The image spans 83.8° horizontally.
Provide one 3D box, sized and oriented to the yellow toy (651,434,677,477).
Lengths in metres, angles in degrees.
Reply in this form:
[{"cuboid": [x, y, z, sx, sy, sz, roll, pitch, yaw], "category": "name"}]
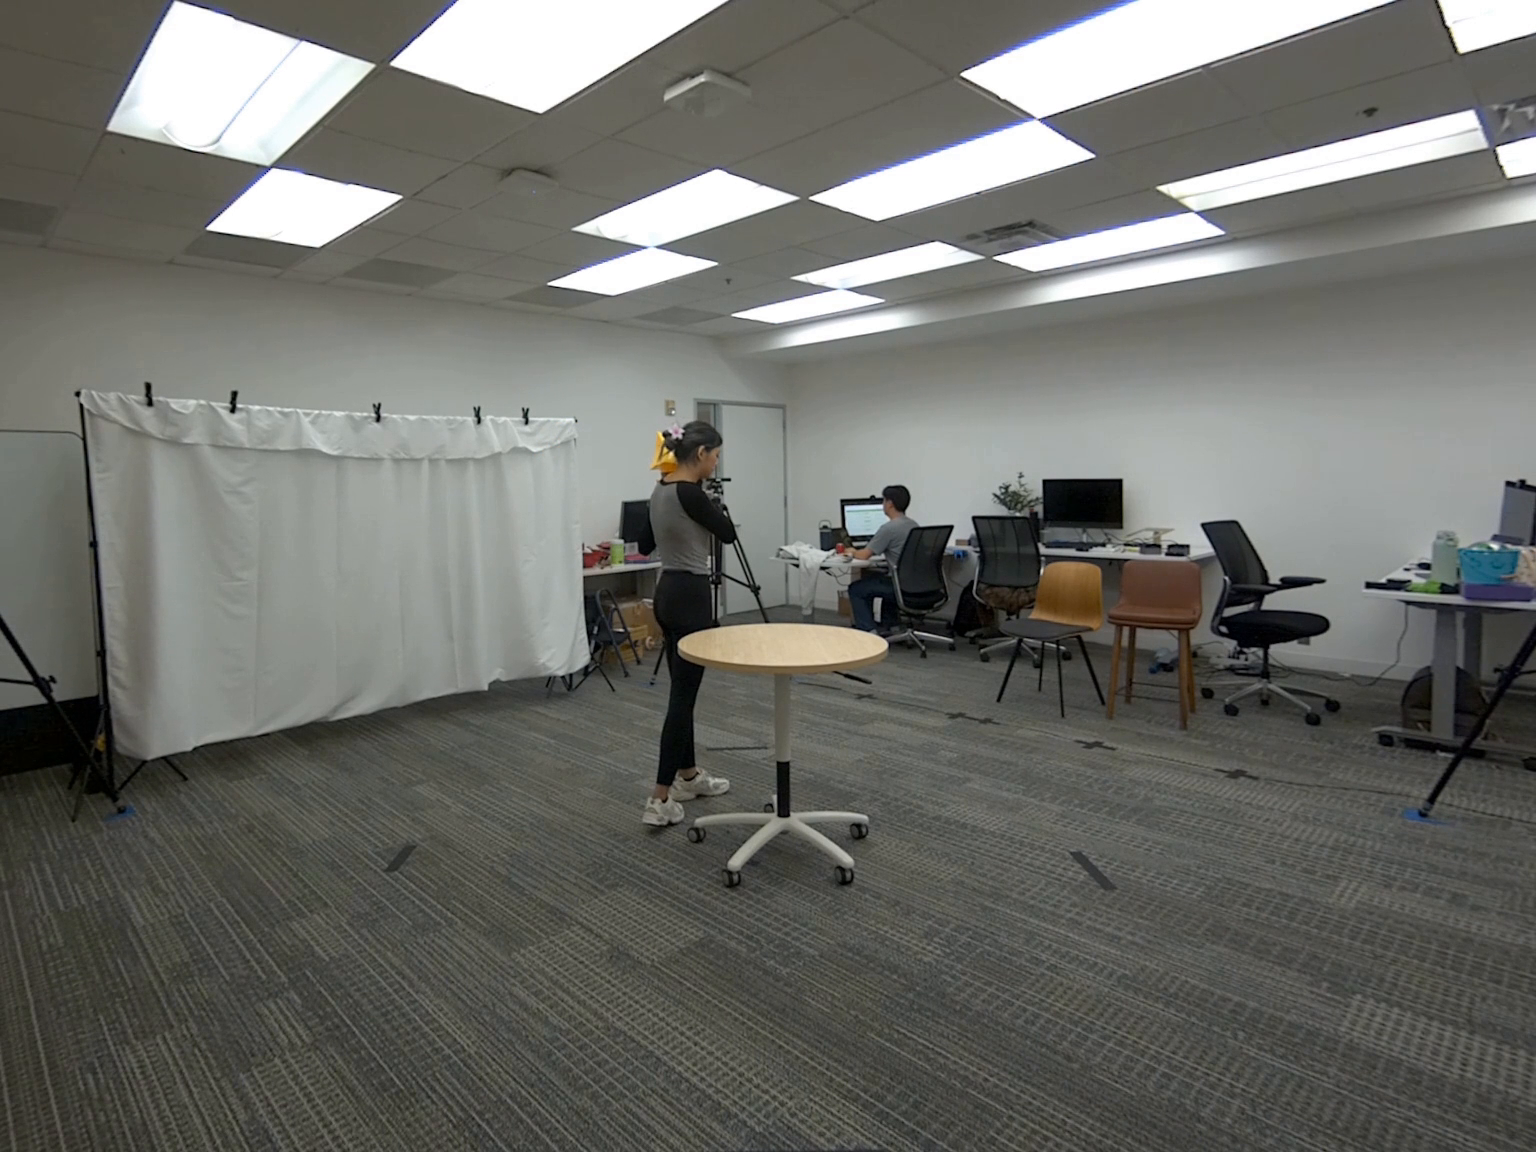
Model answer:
[{"cuboid": [-0.416, -0.537, 3.829, 0.189, 0.231, 0.208, -8, -1, -26], "category": "yellow toy"}]
